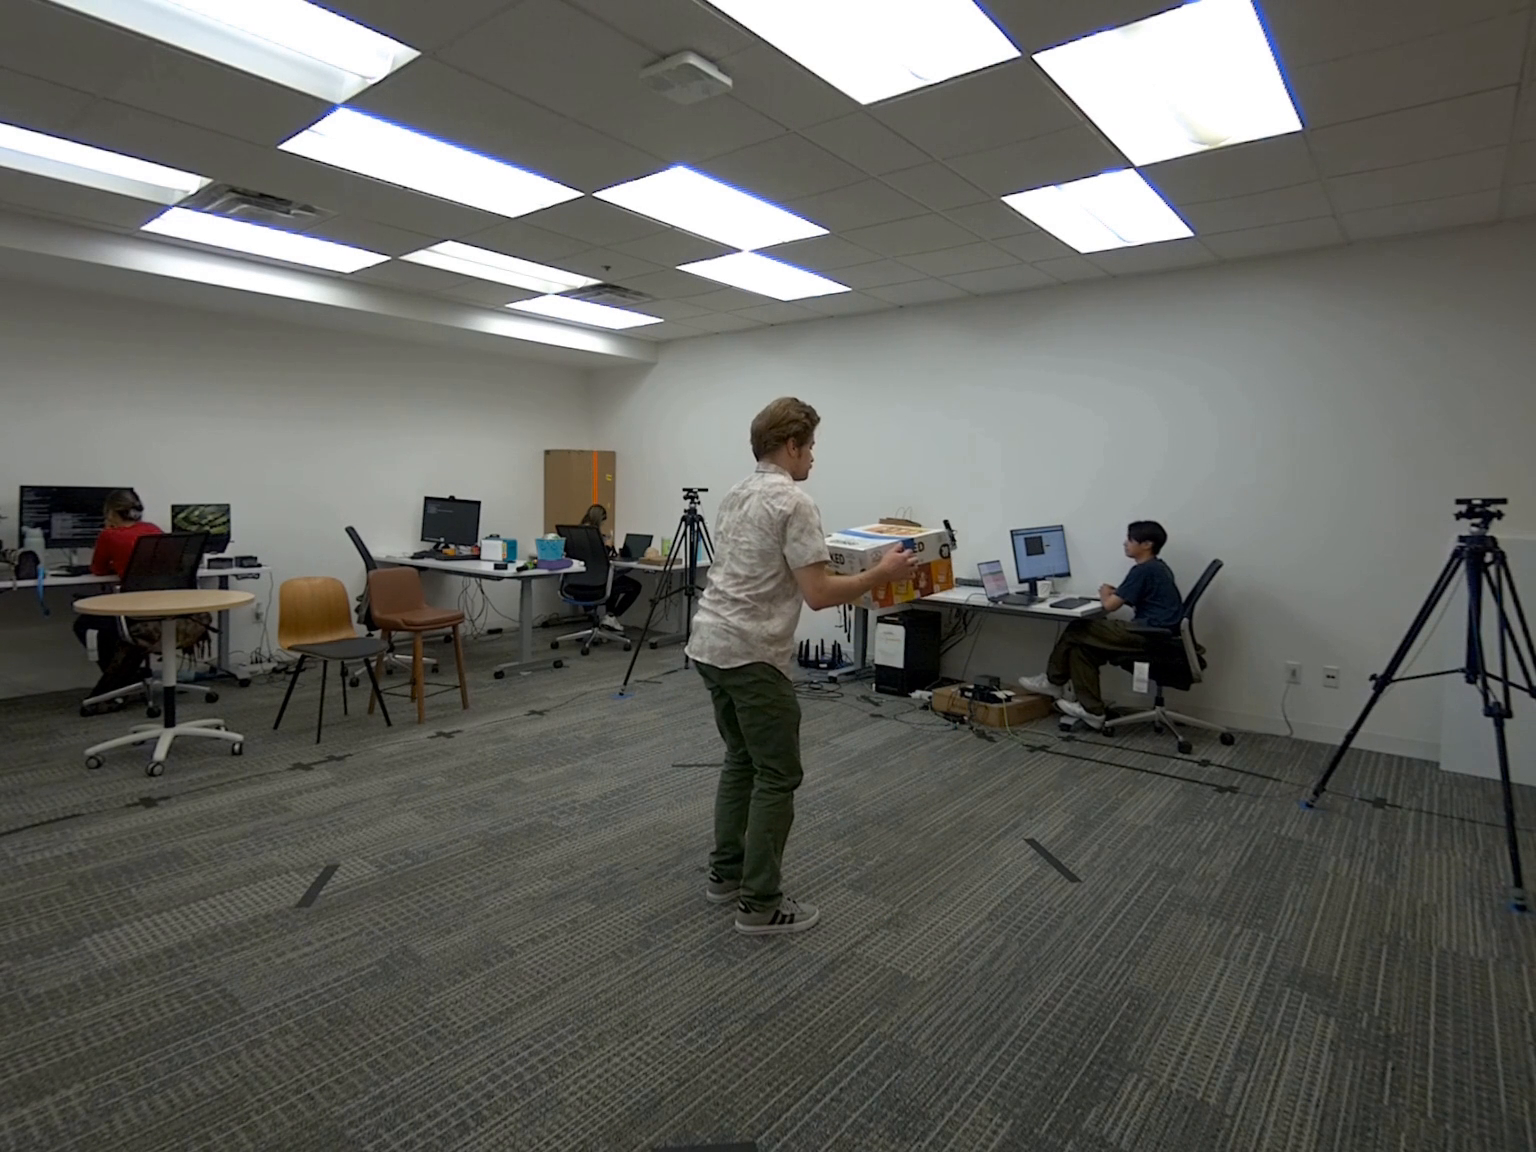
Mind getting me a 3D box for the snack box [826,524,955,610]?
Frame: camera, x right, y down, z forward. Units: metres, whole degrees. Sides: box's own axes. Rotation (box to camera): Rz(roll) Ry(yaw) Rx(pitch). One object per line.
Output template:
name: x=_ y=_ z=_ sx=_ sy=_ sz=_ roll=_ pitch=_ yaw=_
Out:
snack box: x=0.365 y=-0.040 z=2.972 sx=0.334 sy=0.204 sz=0.417 roll=-13 pitch=11 yaw=-26
